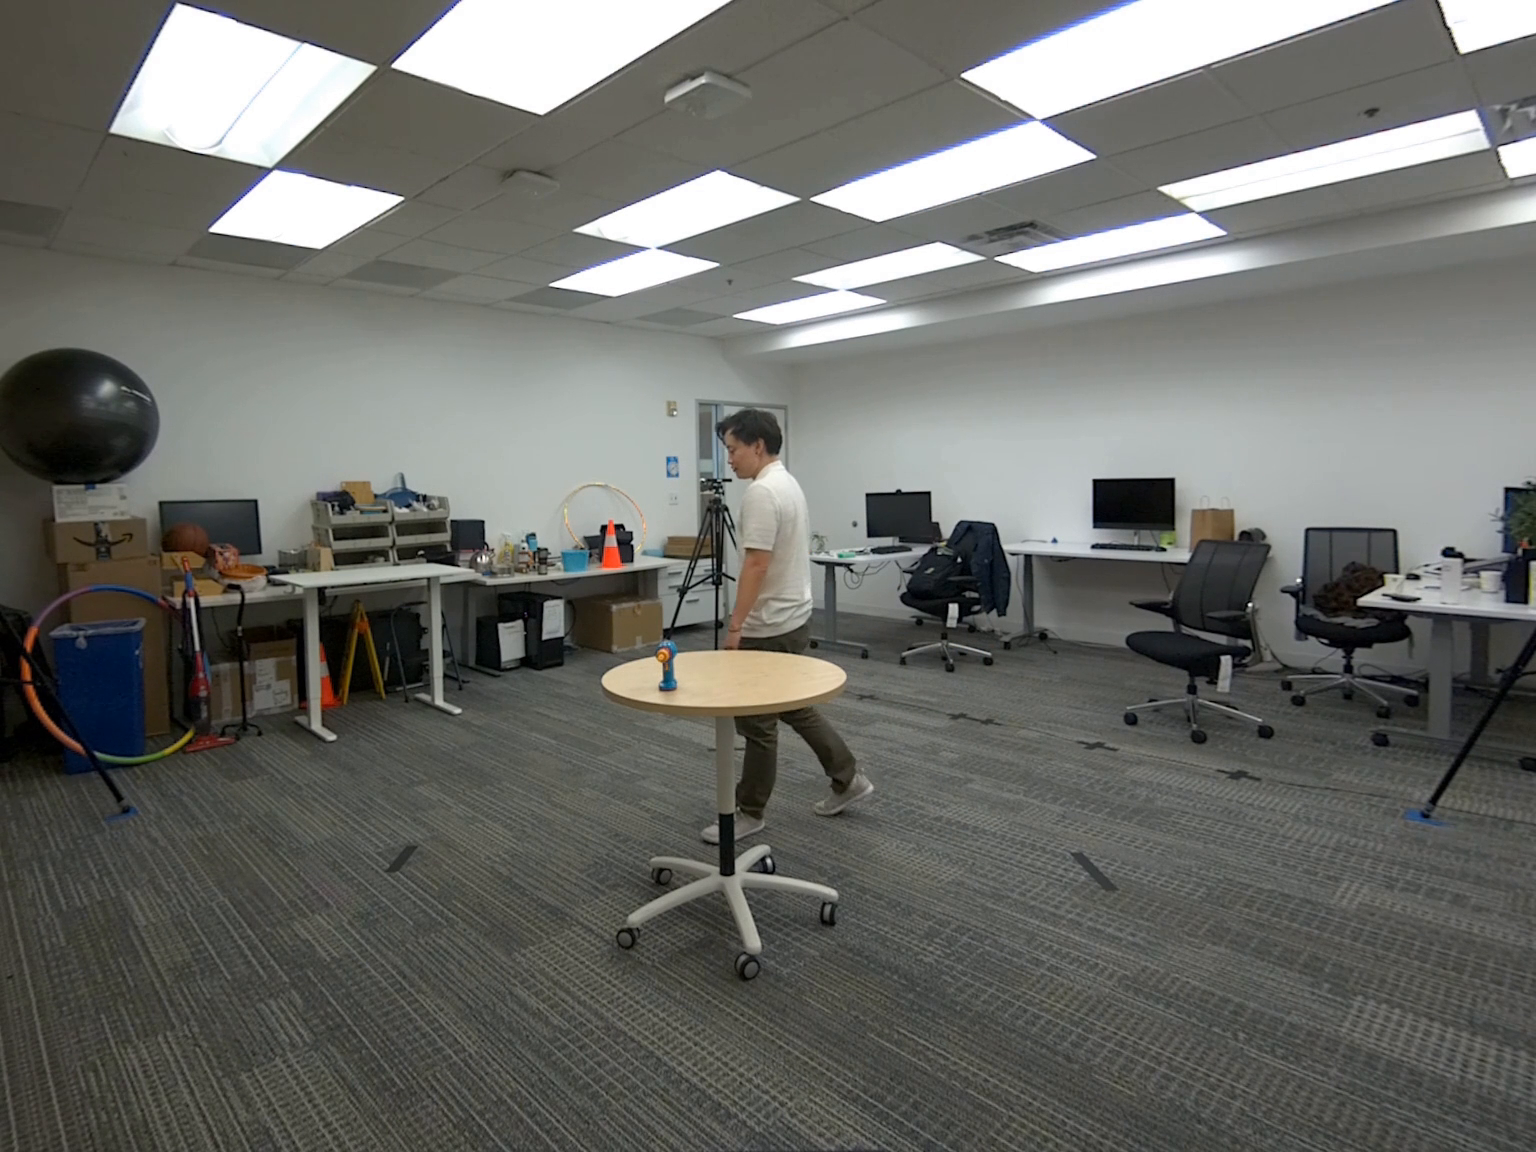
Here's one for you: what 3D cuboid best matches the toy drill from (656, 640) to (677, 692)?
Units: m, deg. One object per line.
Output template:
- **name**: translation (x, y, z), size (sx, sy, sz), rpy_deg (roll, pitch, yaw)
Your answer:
- **toy drill**: translation (-0.289, 0.262, 2.484), size (0.061, 0.145, 0.170), rpy_deg (1, 5, 1)
